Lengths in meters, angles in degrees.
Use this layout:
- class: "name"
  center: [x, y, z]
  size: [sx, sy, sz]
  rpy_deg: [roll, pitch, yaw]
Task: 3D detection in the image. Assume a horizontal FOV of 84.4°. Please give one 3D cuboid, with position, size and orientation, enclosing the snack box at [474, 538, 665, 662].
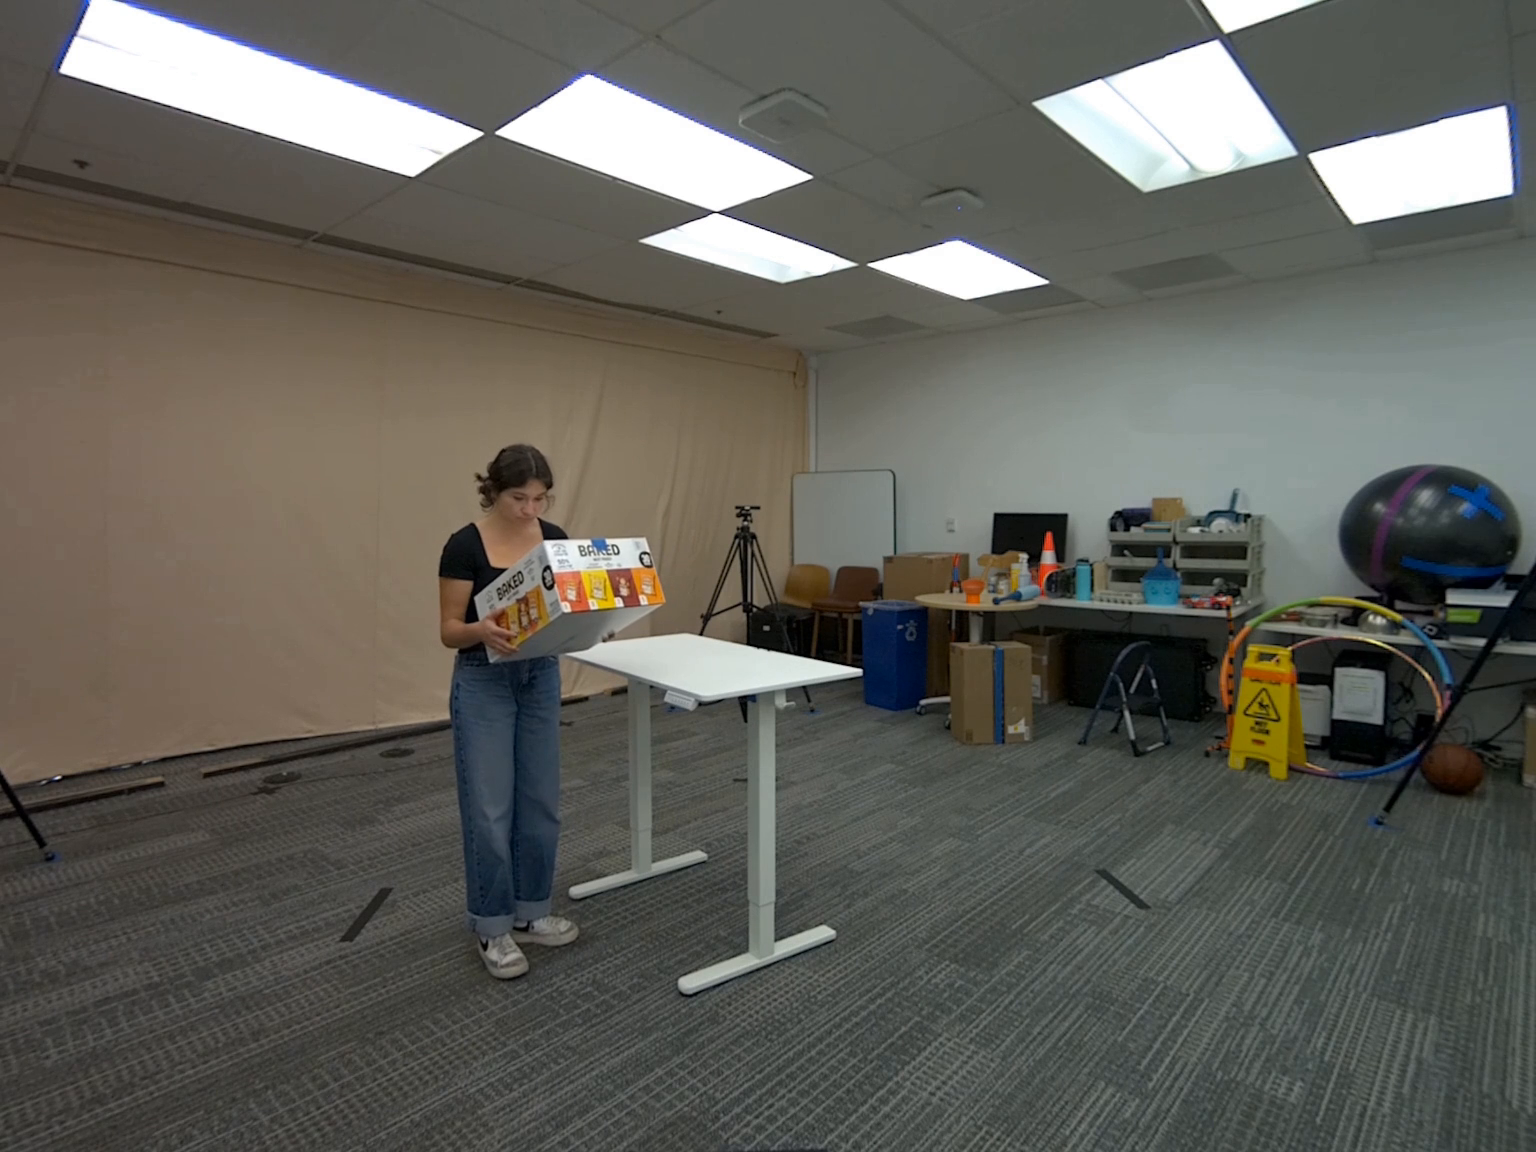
- class: "snack box"
  center: [-0.560, 0.069, 2.372]
  size: [0.330, 0.208, 0.412]
  rpy_deg: [-3, -21, -46]
